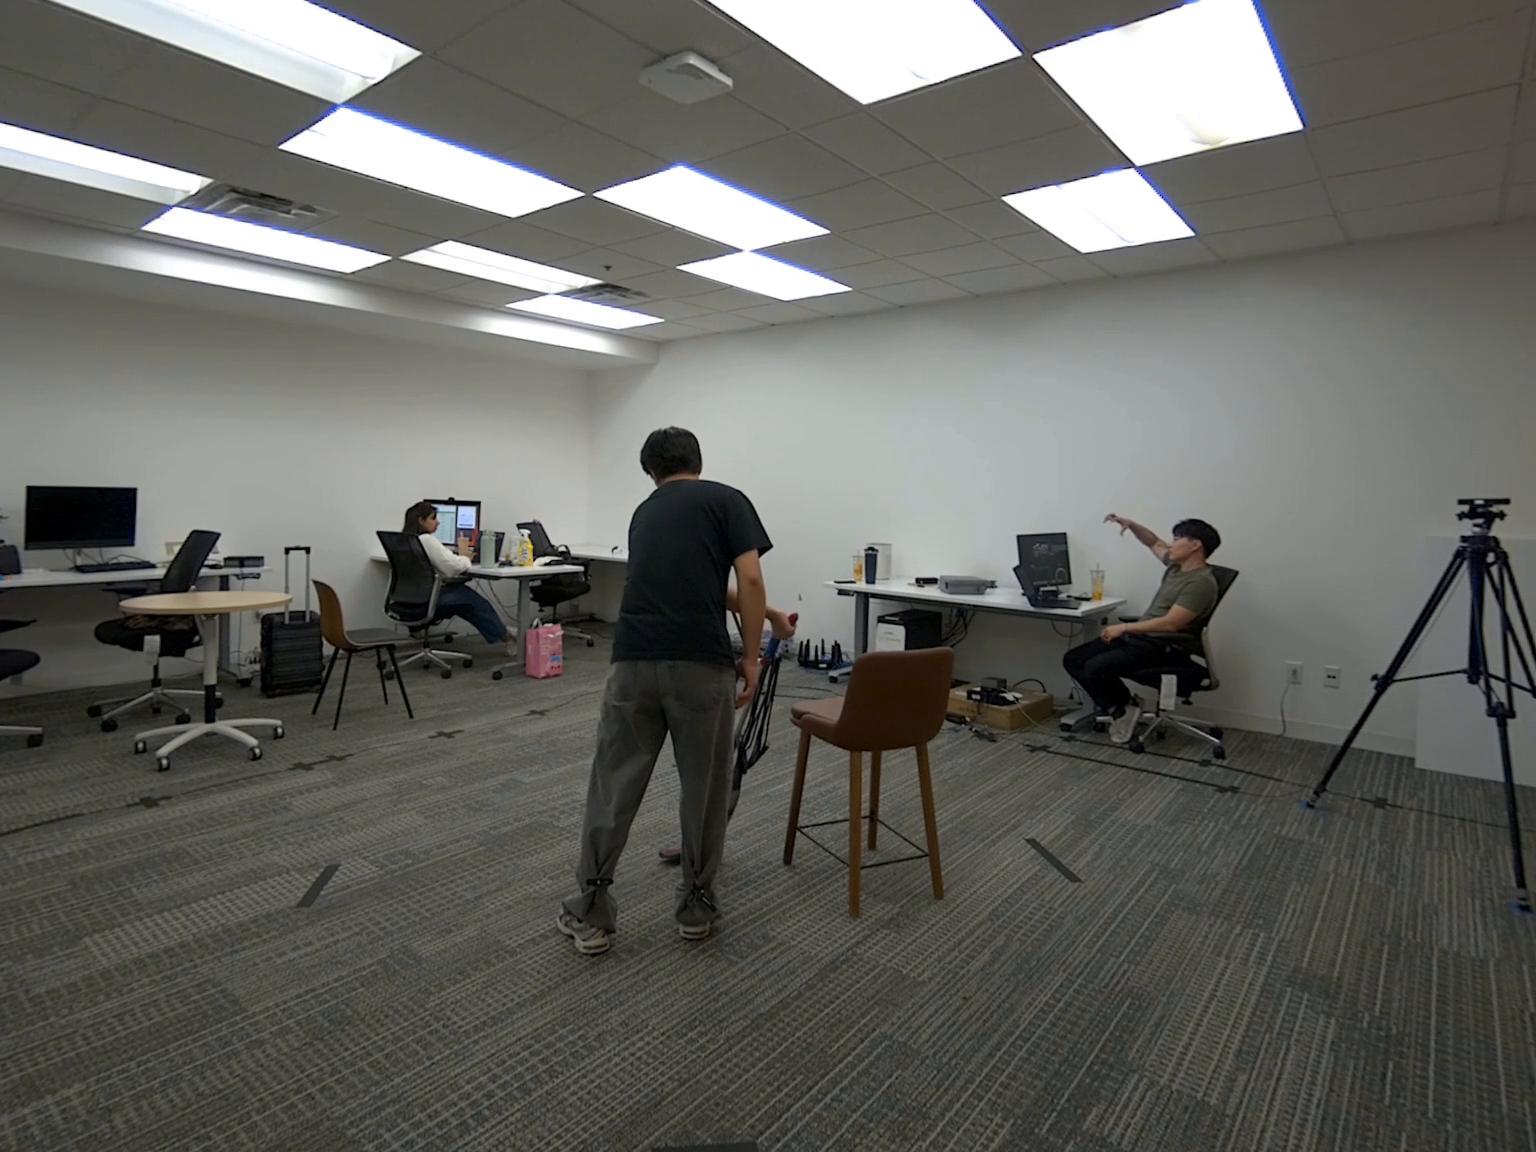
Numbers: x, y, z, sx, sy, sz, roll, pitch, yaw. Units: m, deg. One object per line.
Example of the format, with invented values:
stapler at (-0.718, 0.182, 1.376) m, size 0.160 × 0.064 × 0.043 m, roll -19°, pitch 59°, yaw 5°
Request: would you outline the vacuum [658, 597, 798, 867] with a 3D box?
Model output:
vacuum at (-0.104, 0.596, 3.029) m, size 0.244 × 1.040 × 0.150 m, roll 4°, pitch 26°, yaw -44°
